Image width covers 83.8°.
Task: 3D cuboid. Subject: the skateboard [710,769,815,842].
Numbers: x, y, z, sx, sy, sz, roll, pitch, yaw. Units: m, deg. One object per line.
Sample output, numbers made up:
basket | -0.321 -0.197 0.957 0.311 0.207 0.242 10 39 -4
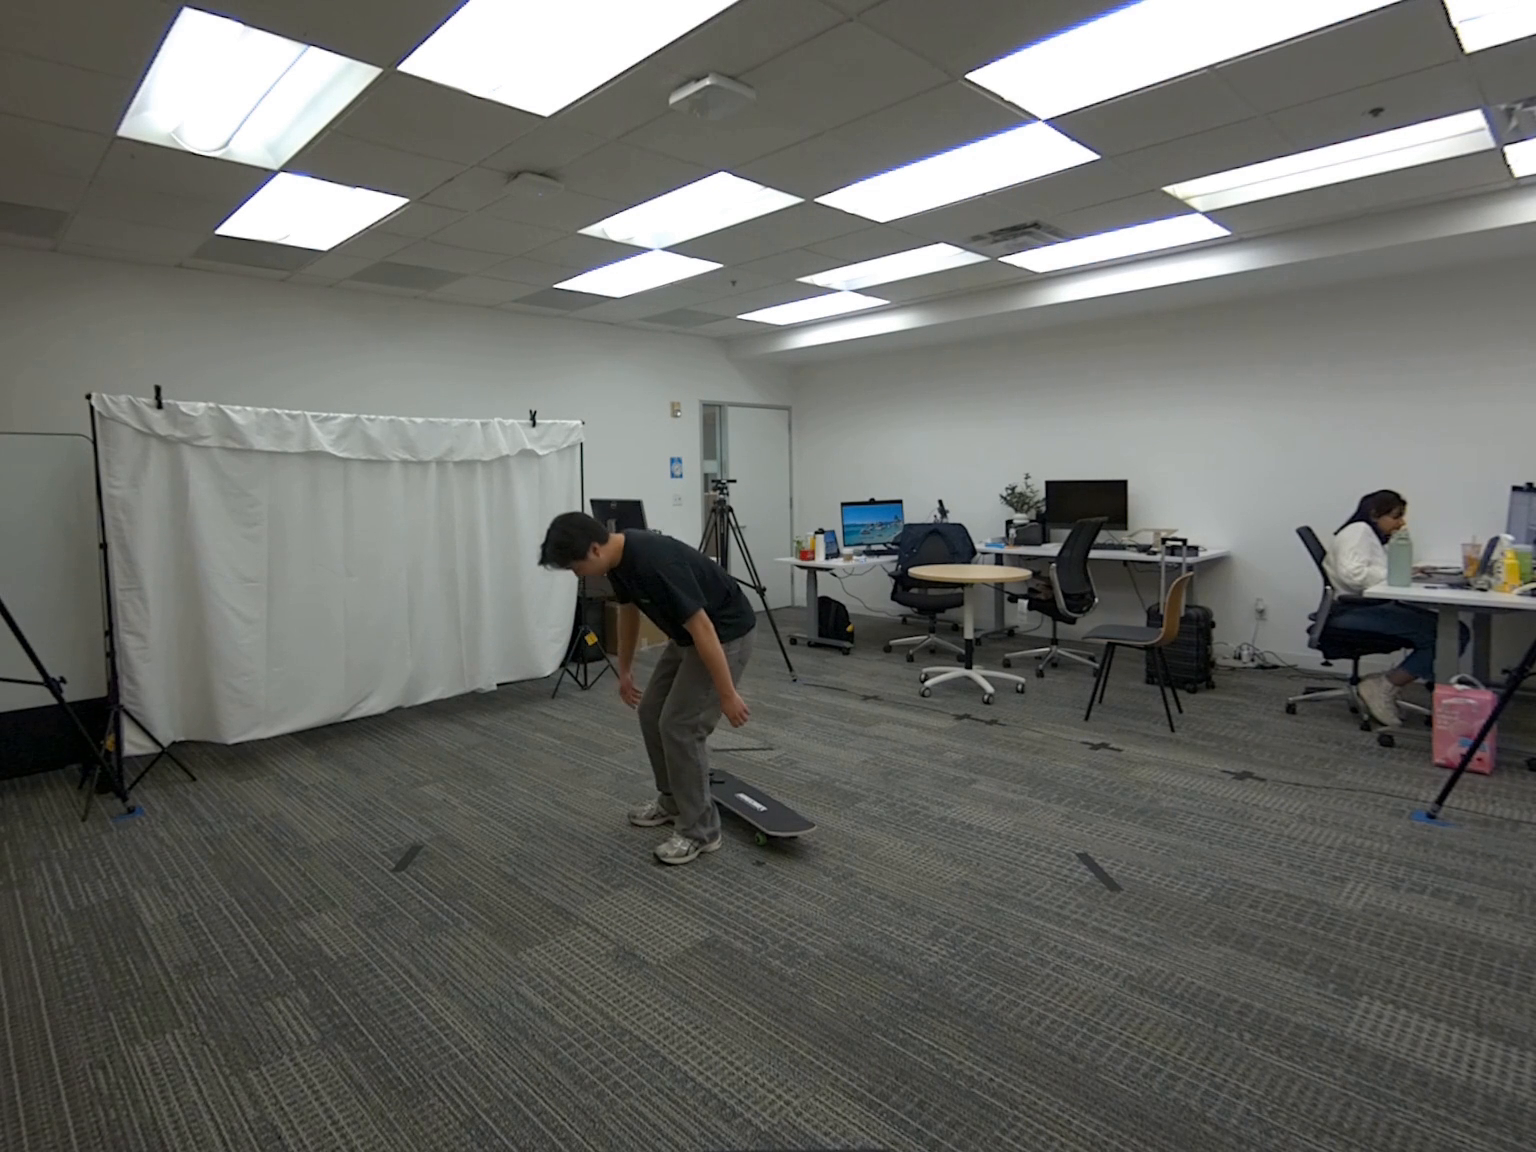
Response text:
skateboard | -0.072 0.948 3.476 0.189 0.110 0.808 -4 8 -32
